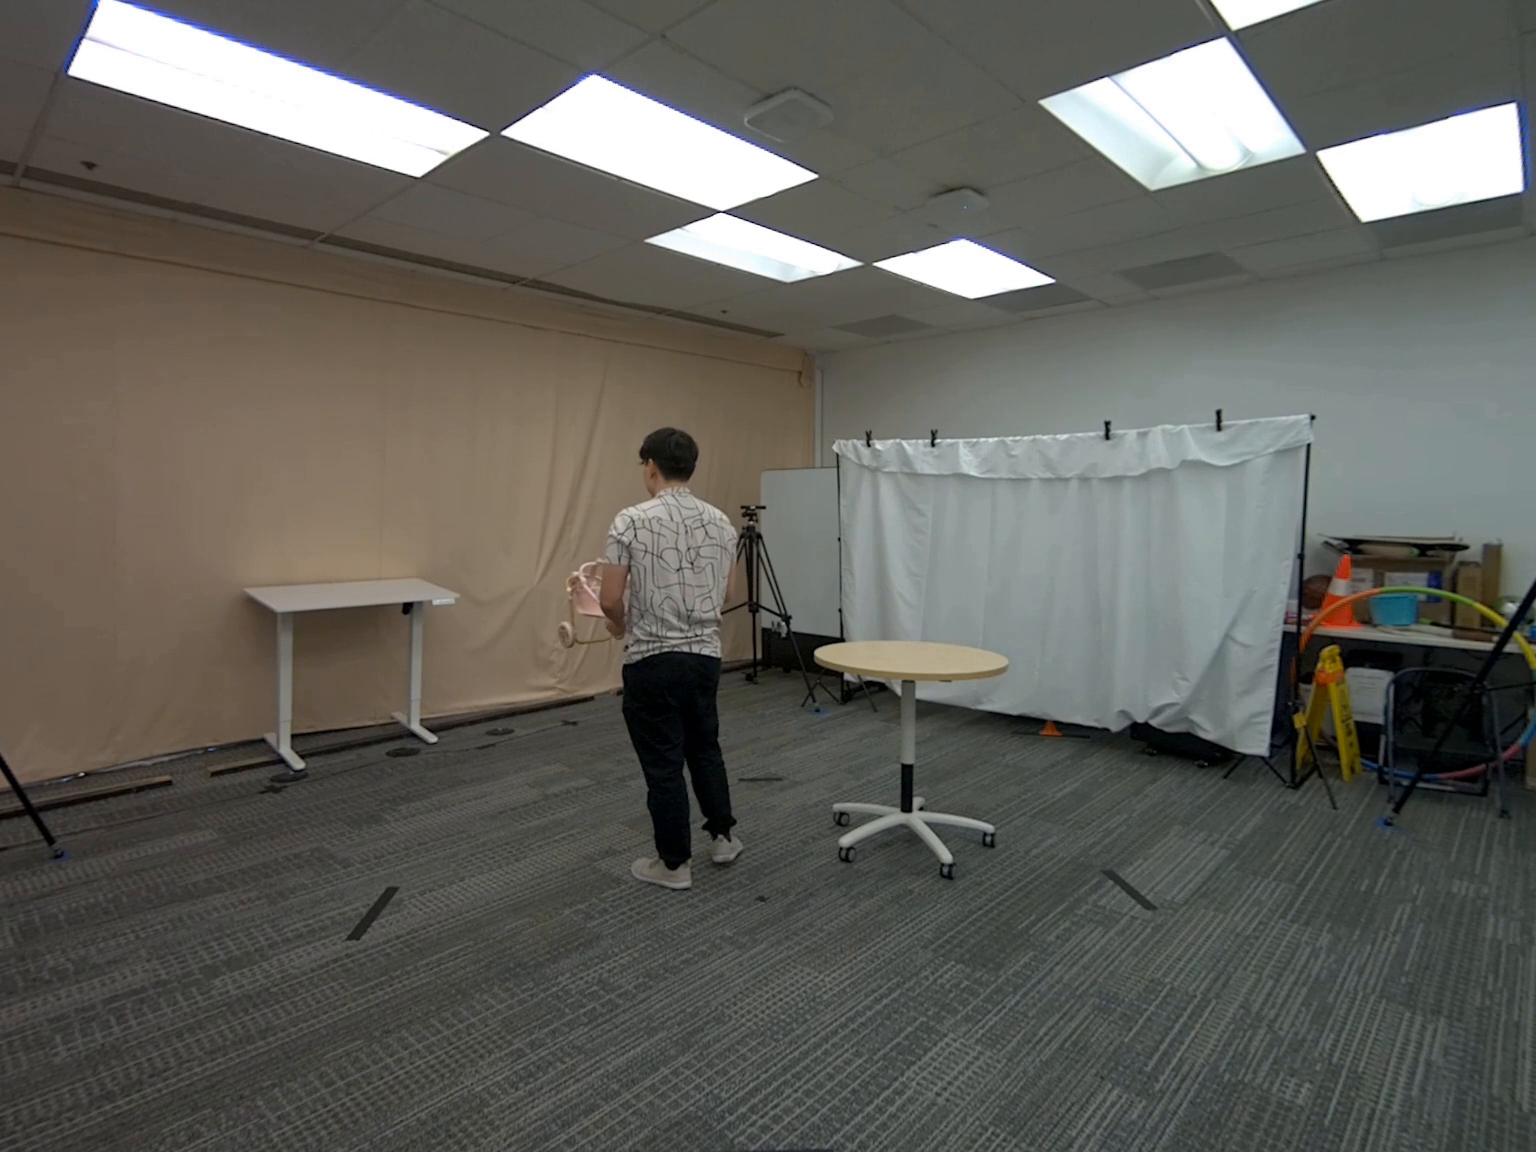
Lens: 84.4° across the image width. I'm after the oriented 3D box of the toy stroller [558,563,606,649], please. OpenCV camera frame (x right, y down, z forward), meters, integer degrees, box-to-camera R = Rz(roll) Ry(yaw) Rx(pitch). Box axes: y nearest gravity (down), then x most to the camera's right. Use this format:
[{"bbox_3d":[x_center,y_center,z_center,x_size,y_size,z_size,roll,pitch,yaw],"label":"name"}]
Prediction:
[{"bbox_3d":[-0.665,0.099,3.430,0.273,0.344,0.547,-1,-12,-38],"label":"toy stroller"}]
